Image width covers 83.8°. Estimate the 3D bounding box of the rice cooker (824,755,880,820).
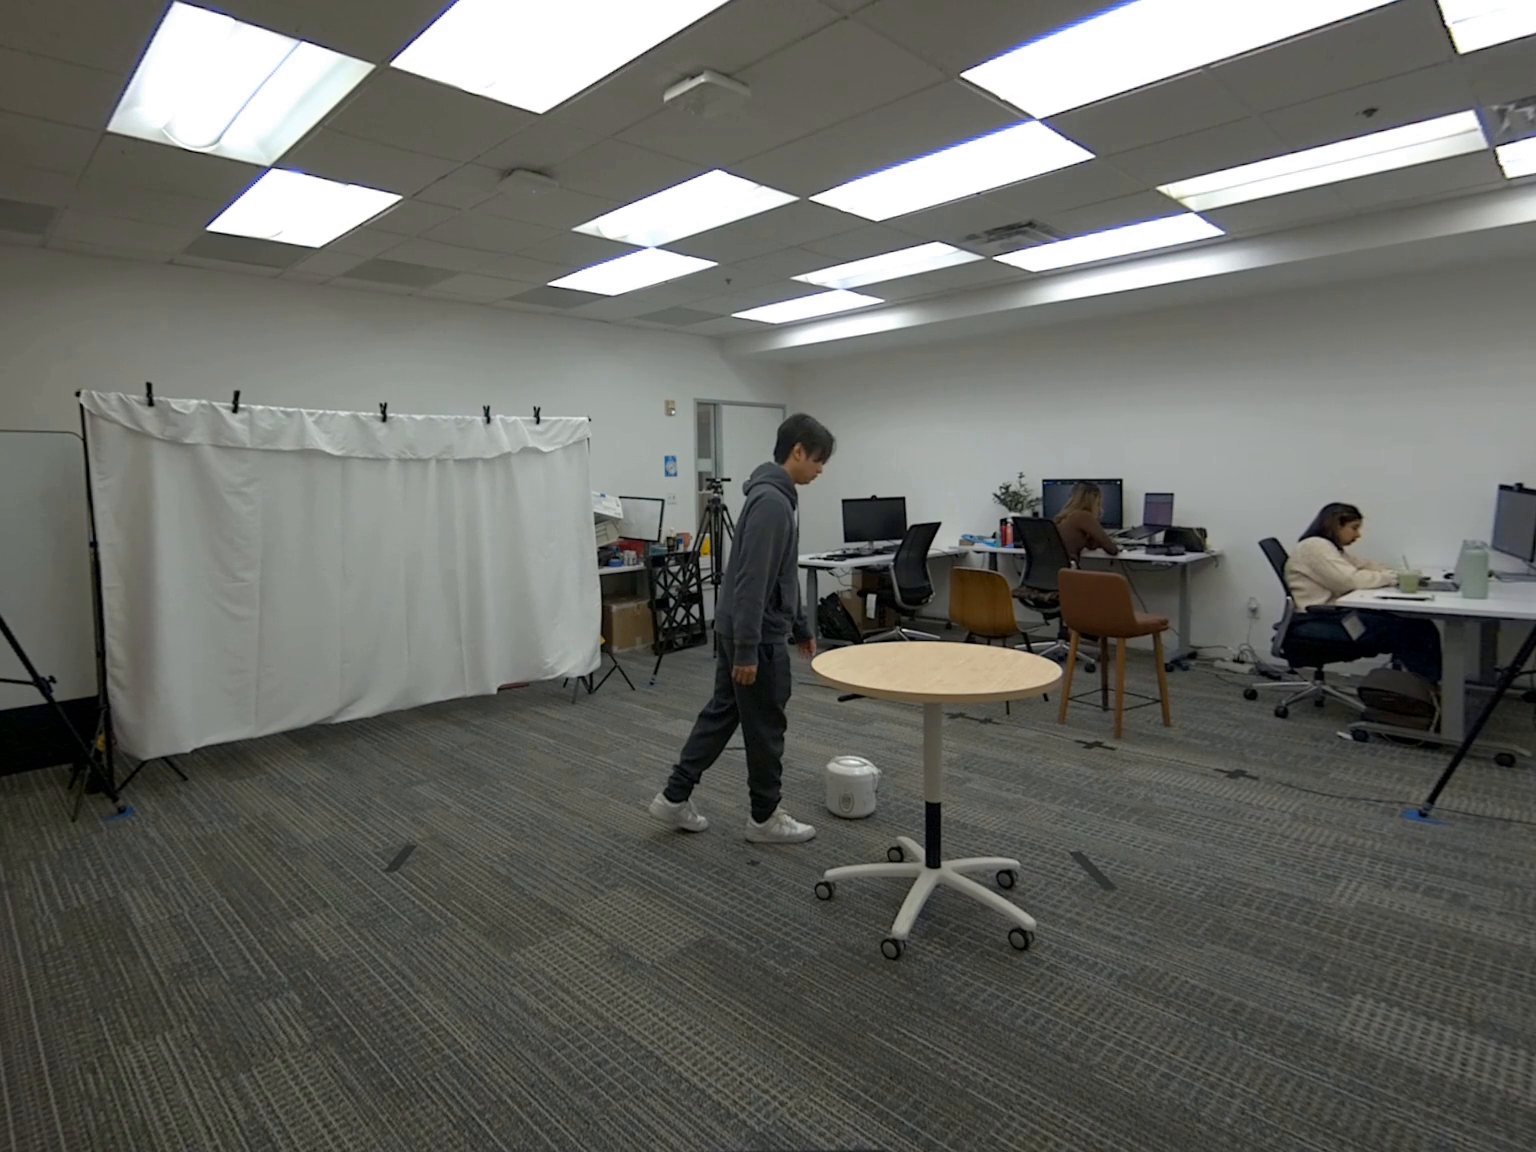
[{"bbox_3d":[0.350,0.866,3.564,0.224,0.232,0.214,1,4,18],"label":"rice cooker"}]
